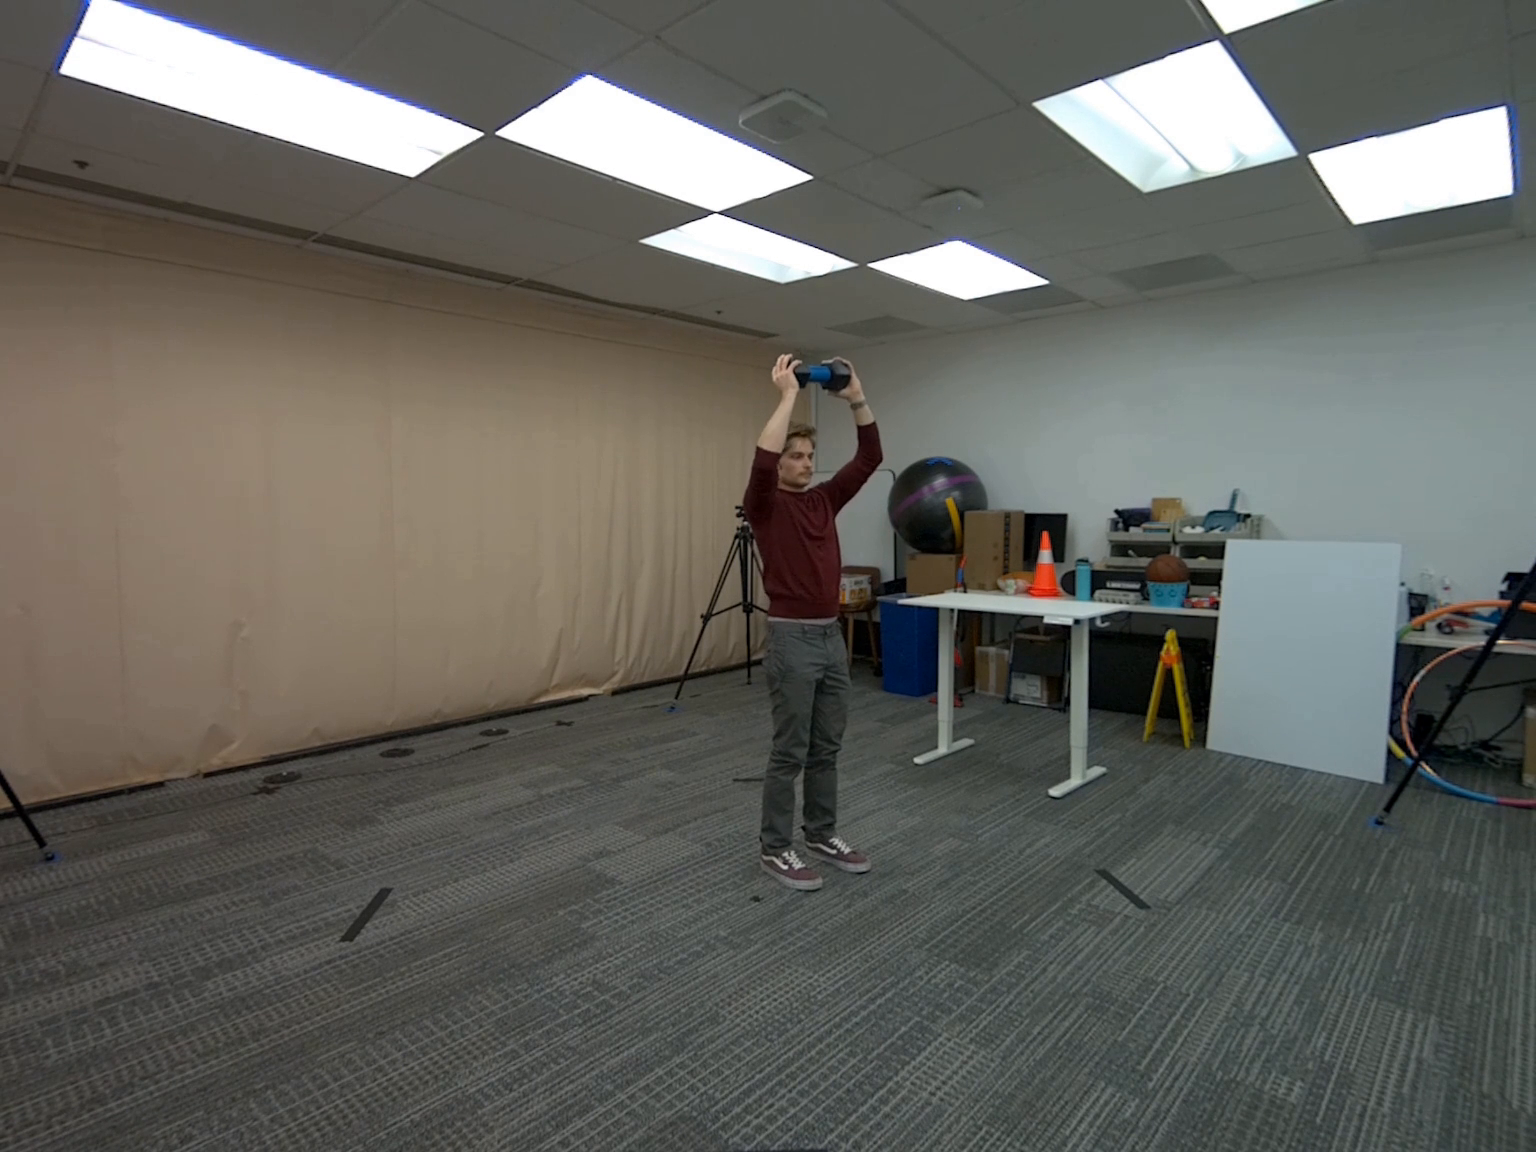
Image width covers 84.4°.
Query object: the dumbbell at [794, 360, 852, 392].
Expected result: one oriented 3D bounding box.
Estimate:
[{"bbox_3d":[0.173,-0.737,3.085,0.285,0.124,0.110,-11,-16,-41],"label":"dumbbell"}]
